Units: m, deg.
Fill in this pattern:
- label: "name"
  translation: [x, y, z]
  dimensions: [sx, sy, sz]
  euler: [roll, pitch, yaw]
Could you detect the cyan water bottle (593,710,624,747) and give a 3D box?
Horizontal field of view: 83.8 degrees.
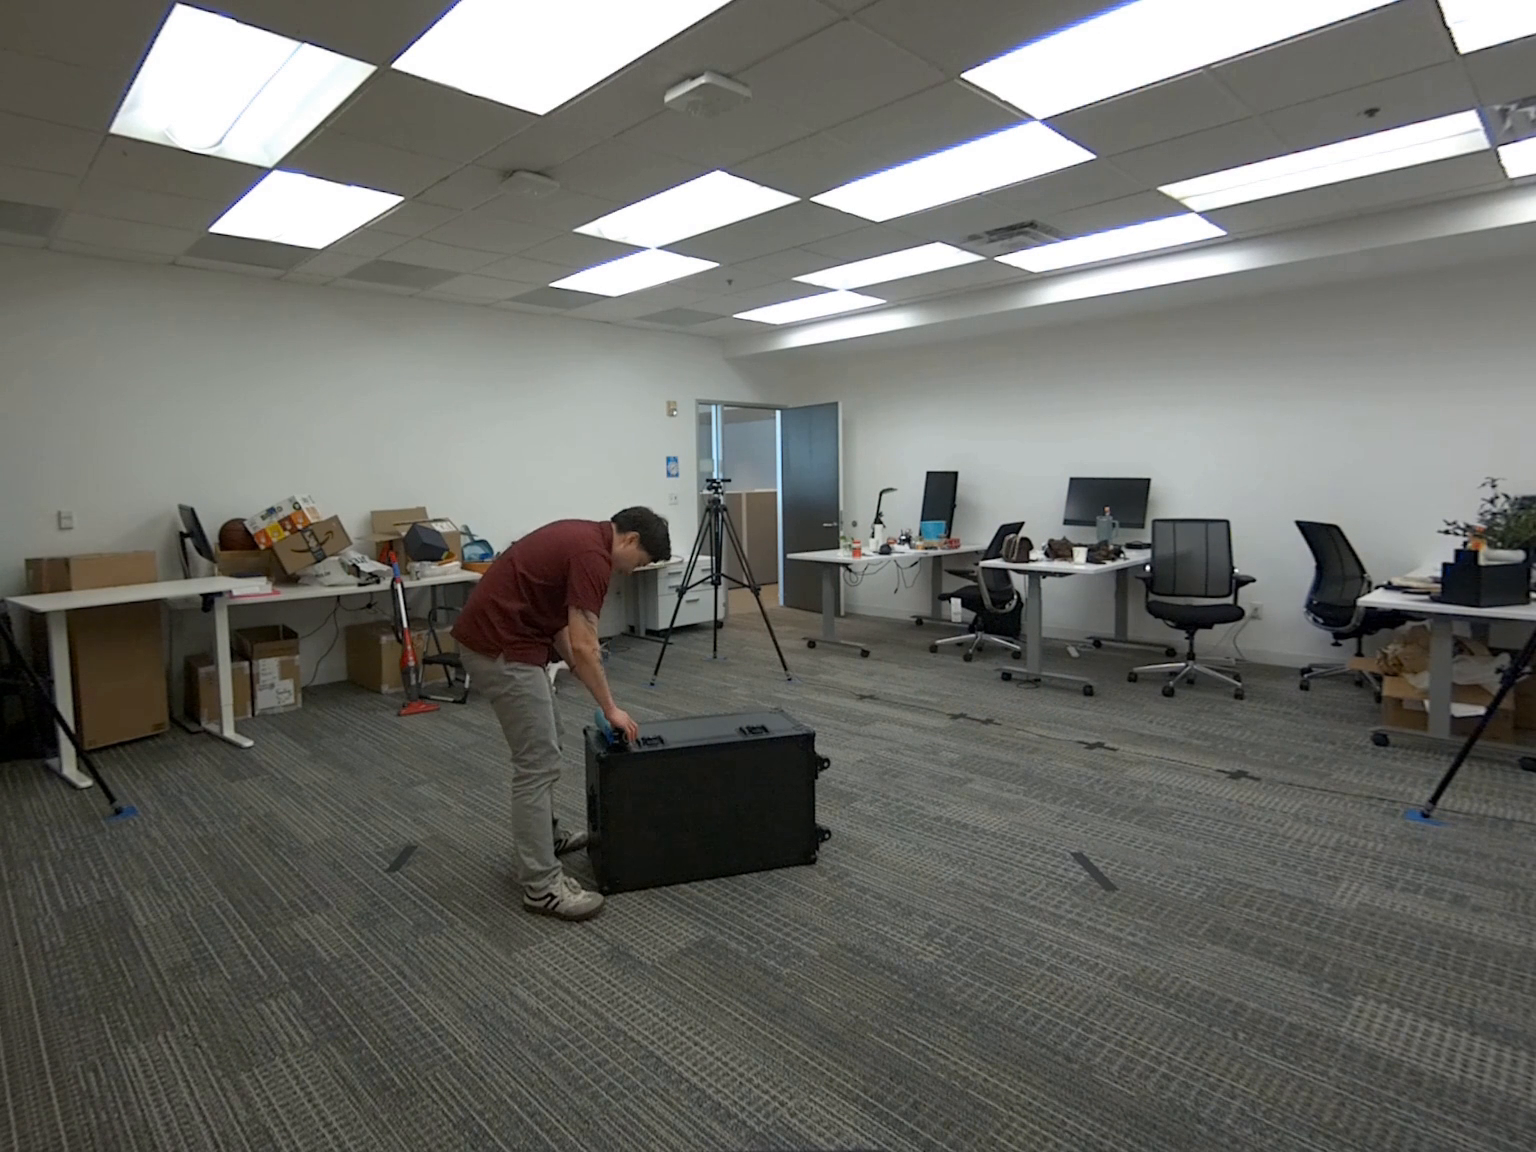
- label: "cyan water bottle"
  translation: [-0.541, 0.528, 3.028]
  dimensions: [0.091, 0.092, 0.290]
  euler: [-3, 9, -21]
